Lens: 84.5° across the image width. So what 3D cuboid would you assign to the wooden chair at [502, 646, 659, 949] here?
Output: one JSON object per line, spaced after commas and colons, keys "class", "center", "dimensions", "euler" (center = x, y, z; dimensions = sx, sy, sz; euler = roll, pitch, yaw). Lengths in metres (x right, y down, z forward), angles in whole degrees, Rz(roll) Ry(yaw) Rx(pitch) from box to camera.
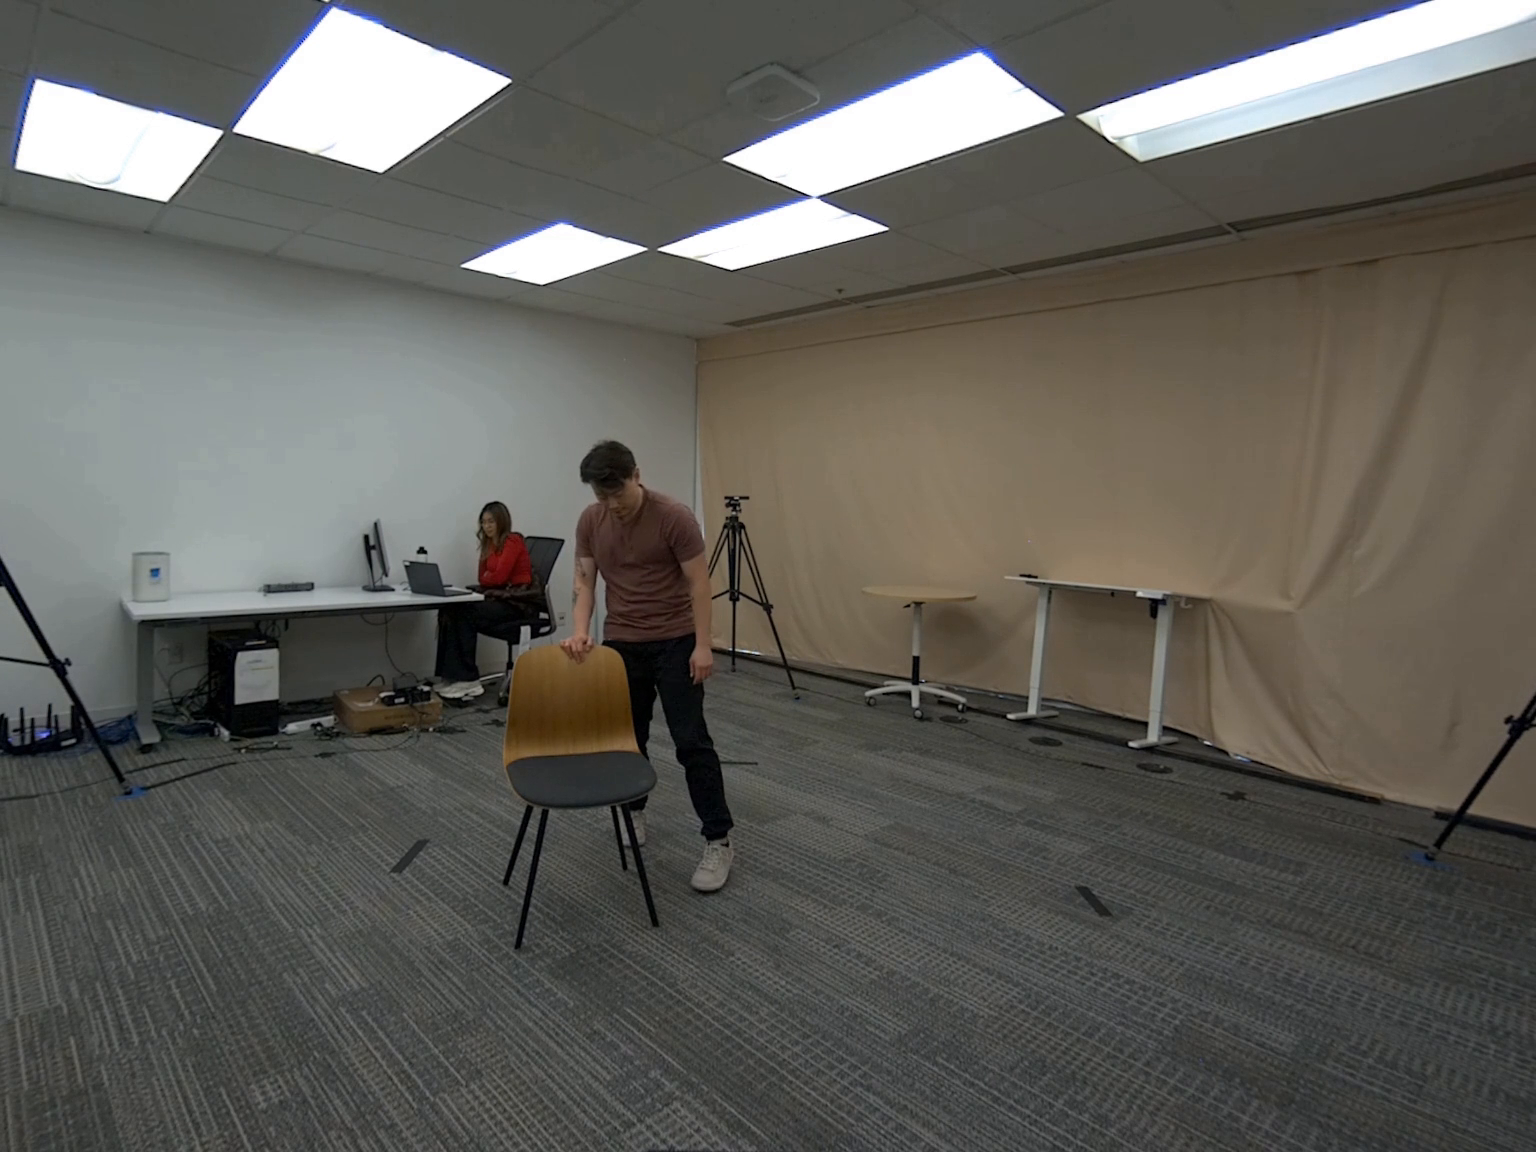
{"class": "wooden chair", "center": [-0.638, 0.695, 2.809], "dimensions": [0.470, 0.878, 0.531], "euler": [0, 0, -23]}
